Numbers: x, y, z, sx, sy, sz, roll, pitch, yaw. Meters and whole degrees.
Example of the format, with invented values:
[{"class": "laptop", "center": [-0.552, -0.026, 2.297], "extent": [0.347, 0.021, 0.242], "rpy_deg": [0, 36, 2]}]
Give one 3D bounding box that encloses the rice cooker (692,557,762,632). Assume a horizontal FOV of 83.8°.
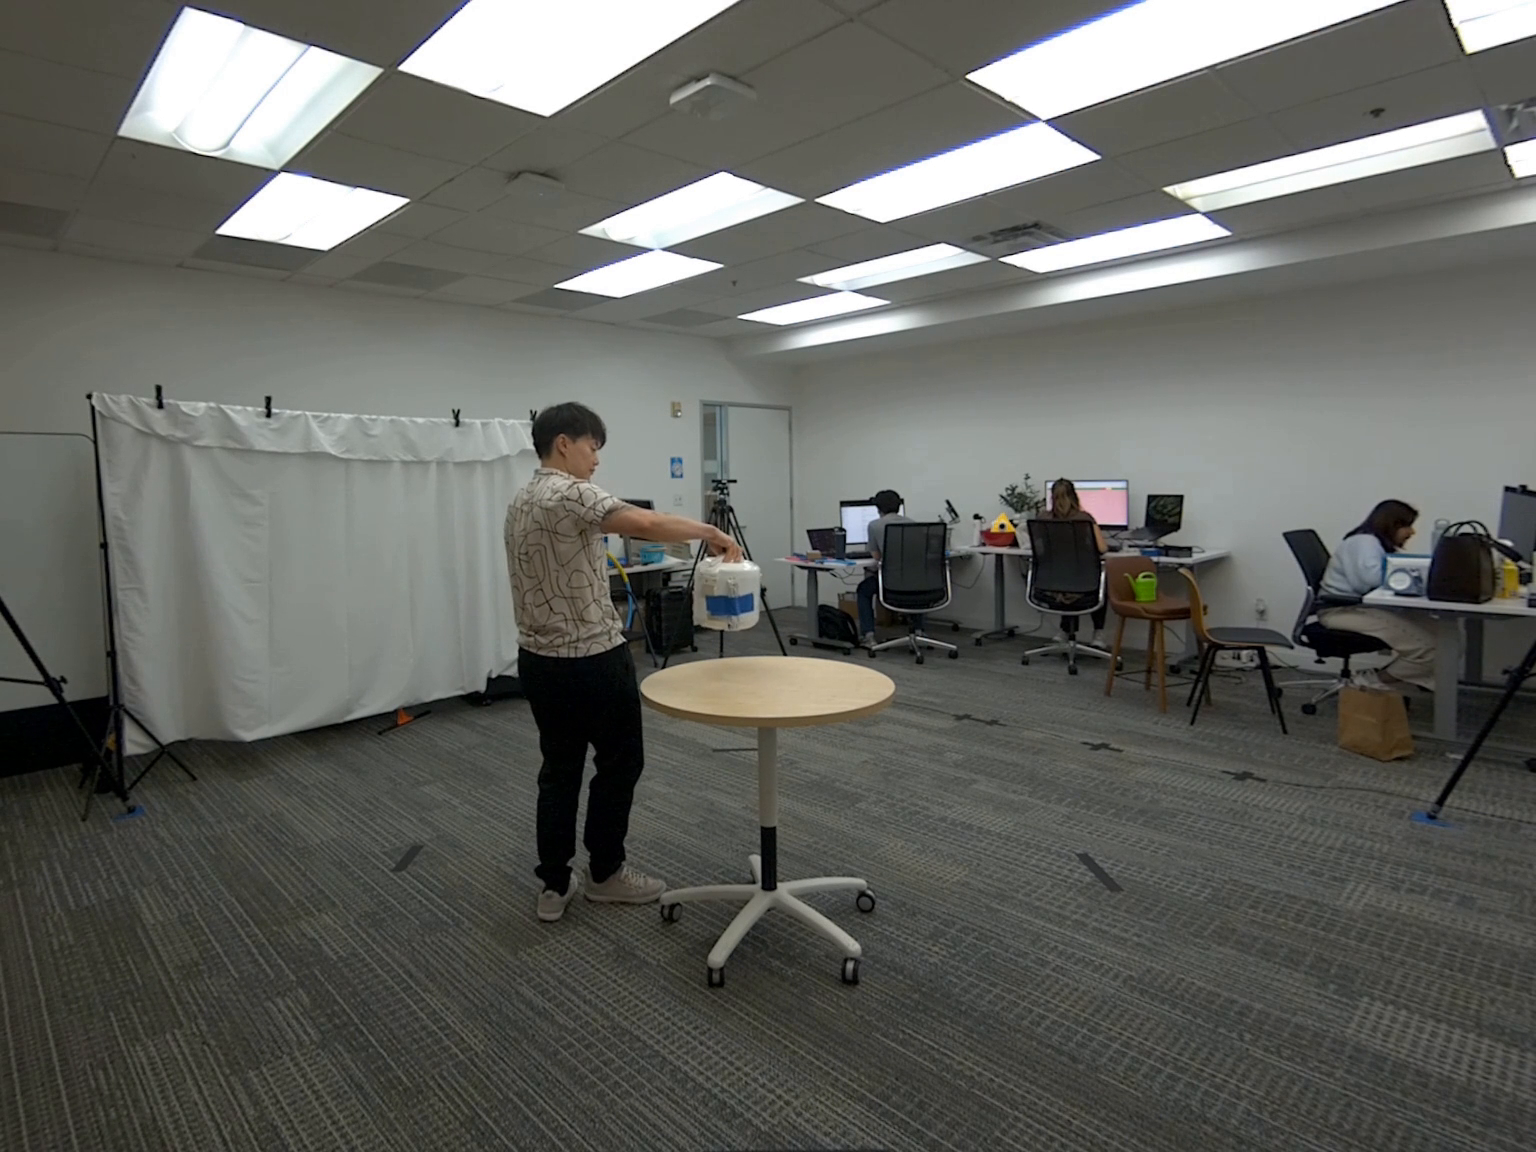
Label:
[{"class": "rice cooker", "center": [-0.133, 0.041, 2.705], "extent": [0.224, 0.232, 0.215], "rpy_deg": [6, 6, 33]}]
